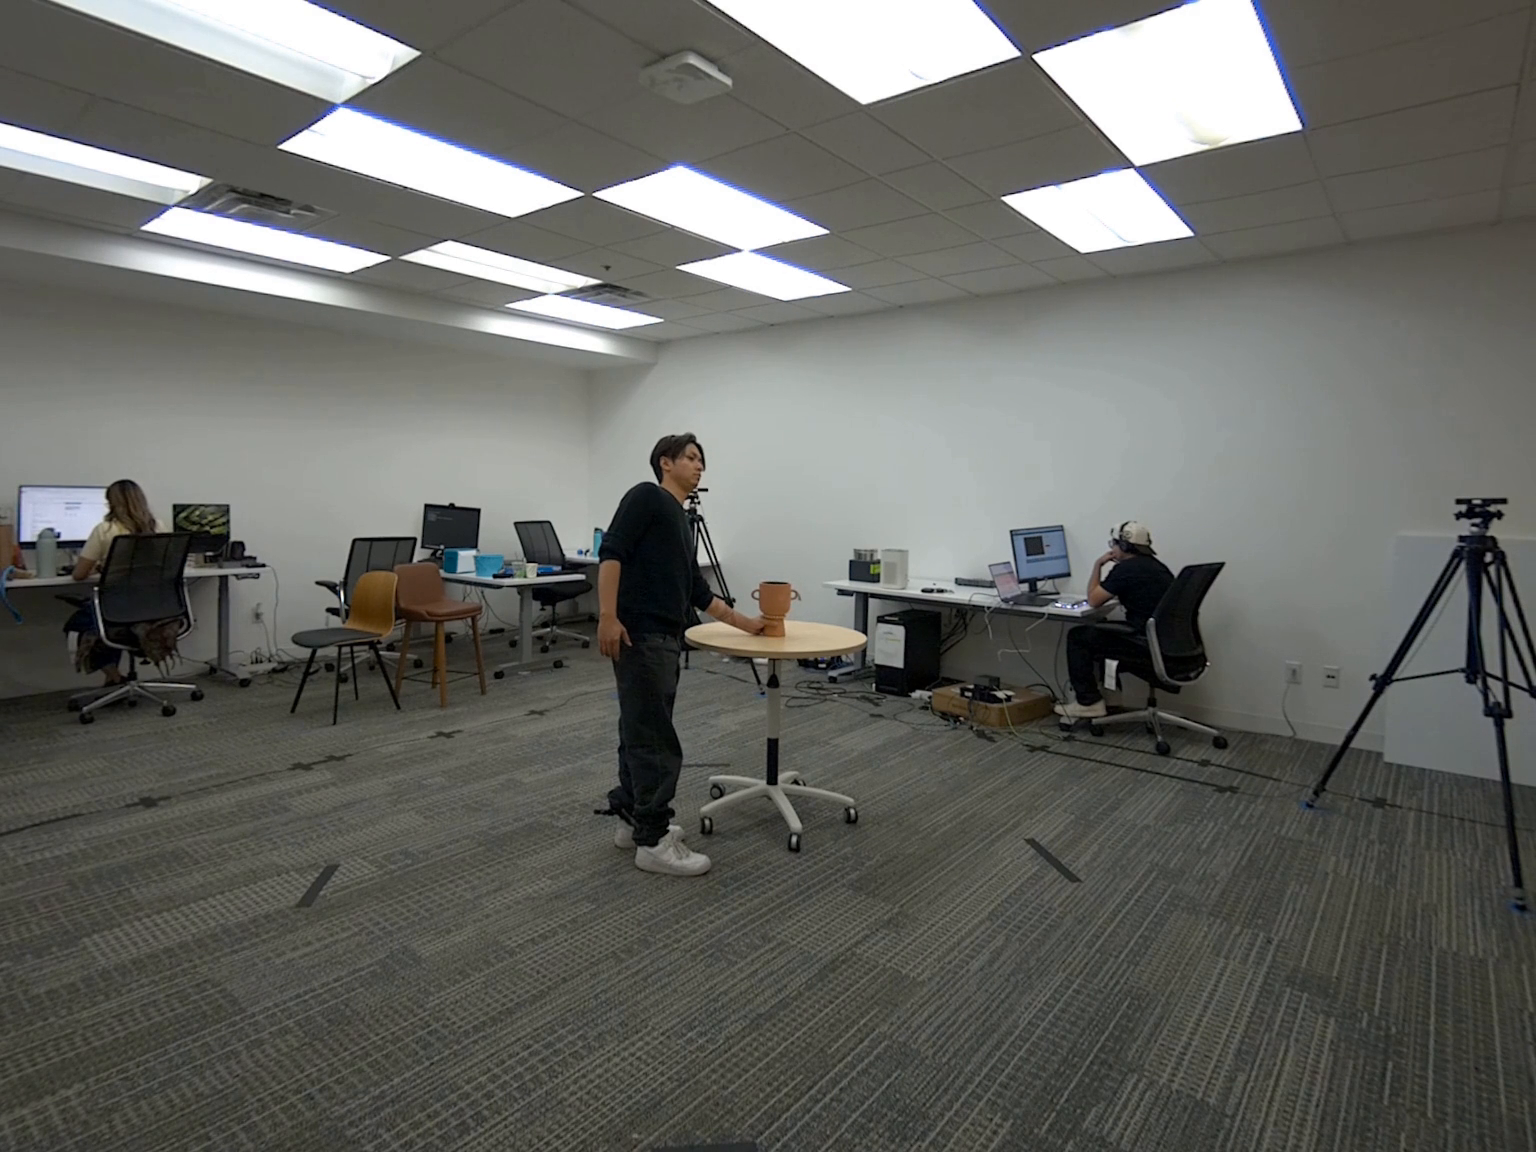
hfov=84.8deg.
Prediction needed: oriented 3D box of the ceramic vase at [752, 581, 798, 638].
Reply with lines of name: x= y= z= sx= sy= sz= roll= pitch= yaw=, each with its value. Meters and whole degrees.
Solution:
ceramic vase: x=0.010 y=0.135 z=3.571 sx=0.163 sy=0.219 sz=0.131 roll=2 pitch=2 yaw=32
